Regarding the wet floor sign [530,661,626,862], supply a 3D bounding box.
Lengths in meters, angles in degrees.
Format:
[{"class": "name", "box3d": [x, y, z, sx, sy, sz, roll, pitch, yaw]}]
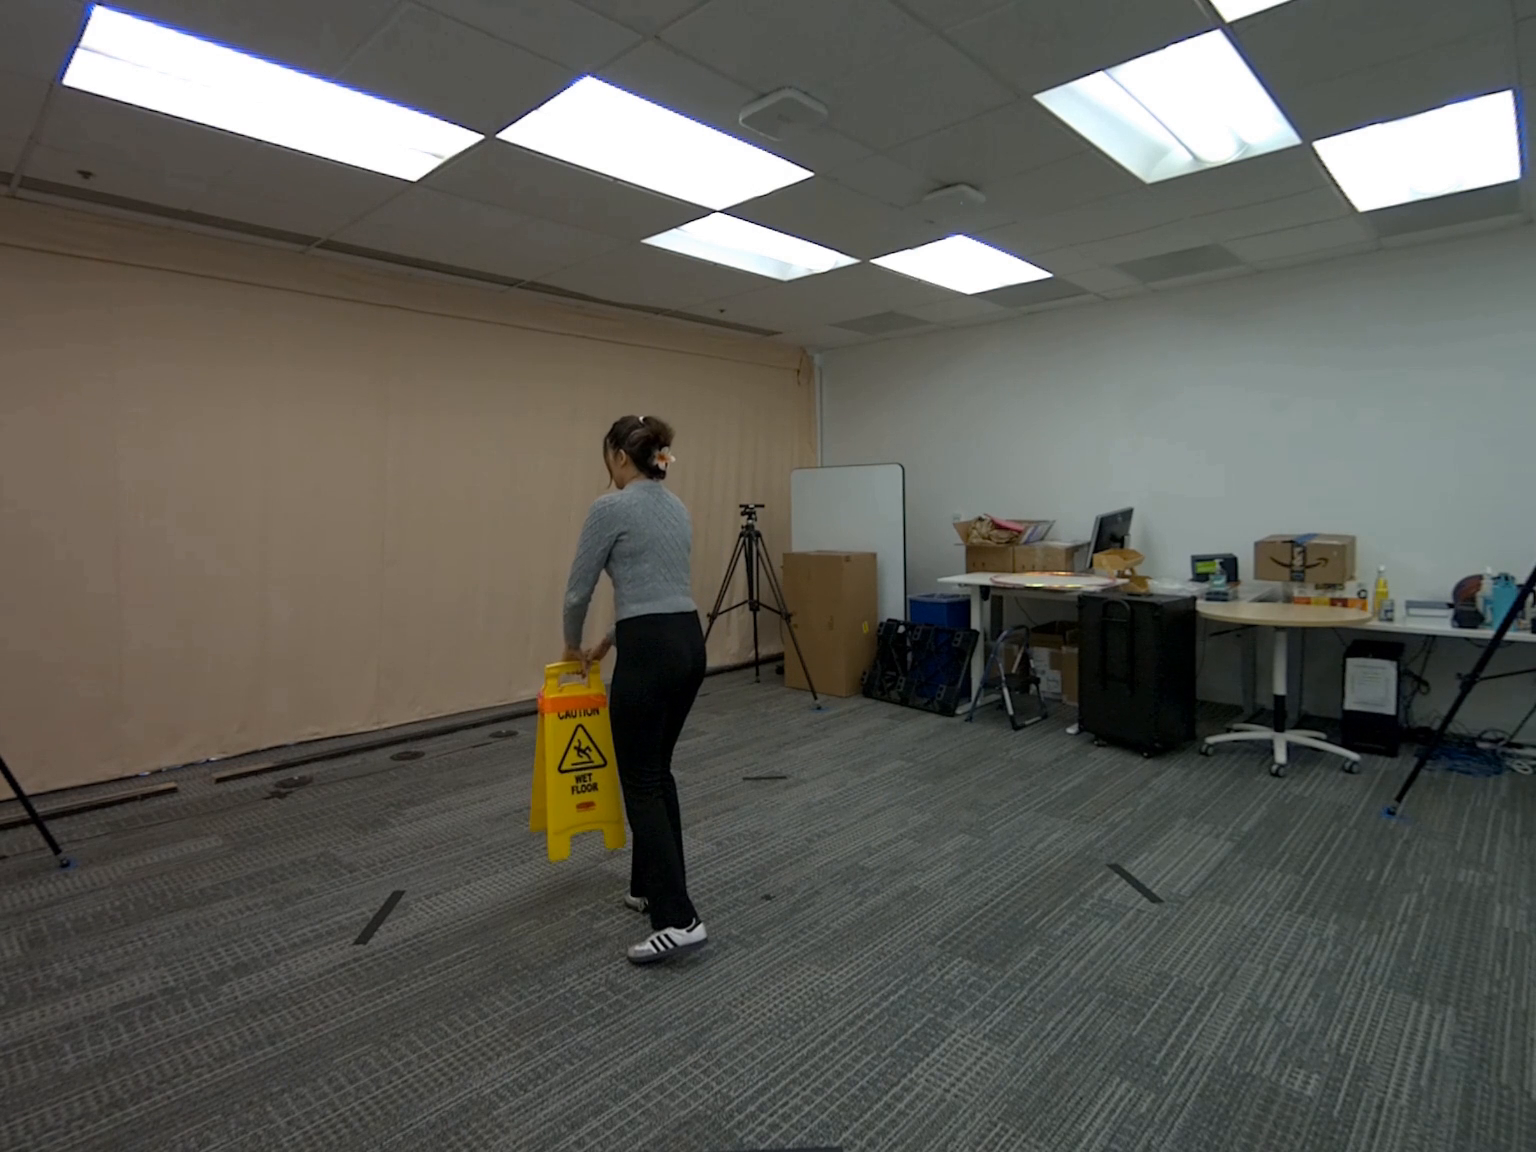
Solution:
[{"class": "wet floor sign", "box3d": [-0.695, 0.629, 3.027, 0.275, 0.645, 0.297, -3, 3, -27]}]
